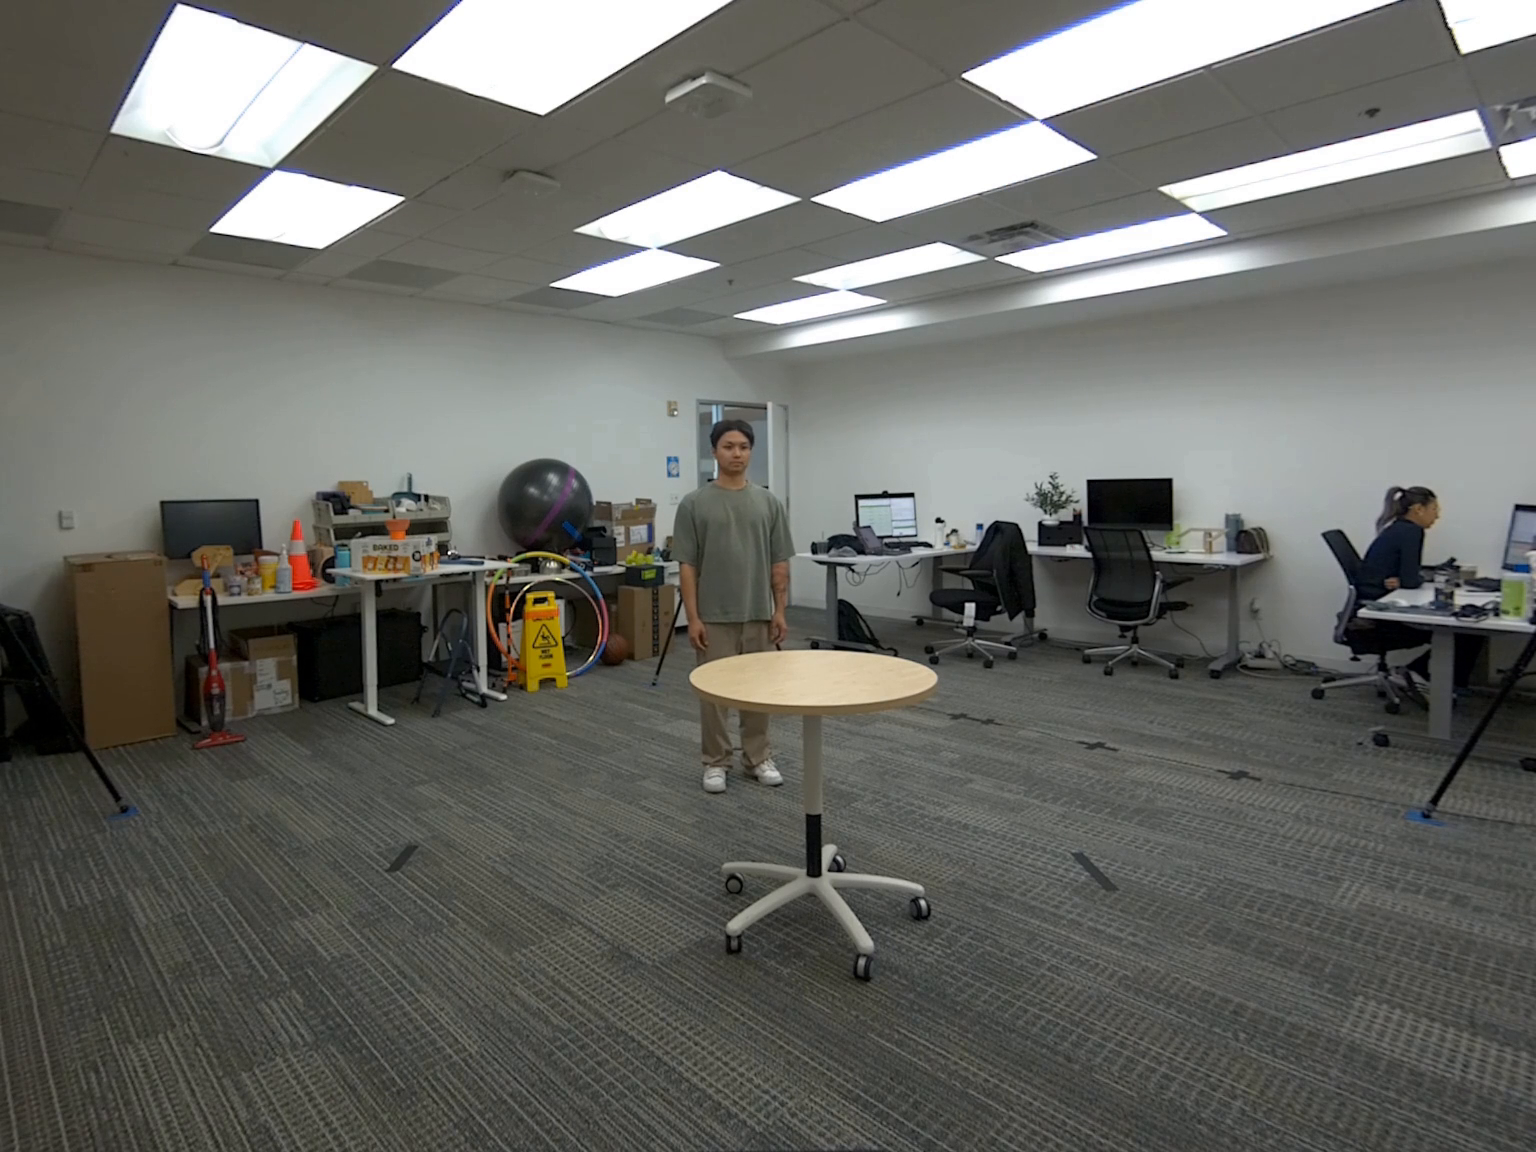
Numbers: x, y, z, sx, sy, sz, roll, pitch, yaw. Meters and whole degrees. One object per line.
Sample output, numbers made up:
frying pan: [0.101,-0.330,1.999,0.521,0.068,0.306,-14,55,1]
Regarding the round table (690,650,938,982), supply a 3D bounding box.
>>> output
round table: [0.147,0.701,2.678,0.784,0.784,0.788,-1,4,-2]
